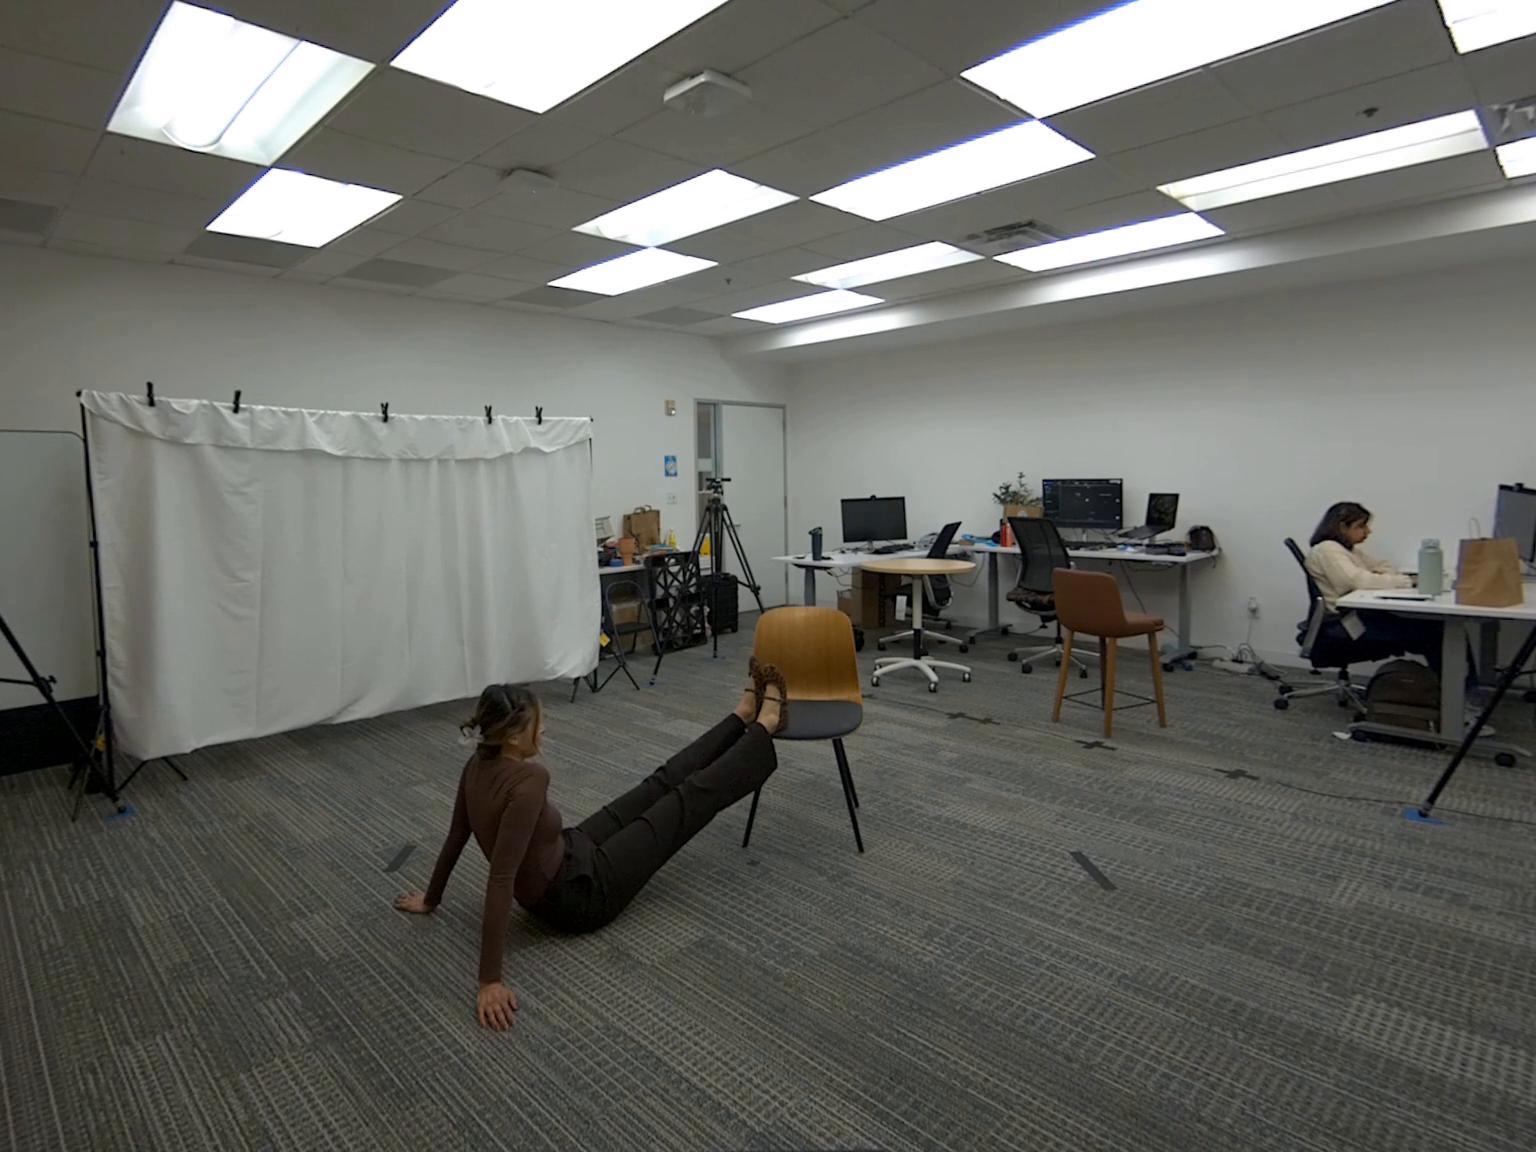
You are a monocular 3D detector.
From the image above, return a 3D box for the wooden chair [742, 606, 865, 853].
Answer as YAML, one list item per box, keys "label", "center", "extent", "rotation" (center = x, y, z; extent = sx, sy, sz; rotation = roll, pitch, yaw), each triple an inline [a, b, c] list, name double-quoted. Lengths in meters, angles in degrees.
- label: "wooden chair"
  center: [0.140, 0.579, 3.387]
  extent: [0.481, 0.877, 0.520]
  rotation: [0, 0, 6]
